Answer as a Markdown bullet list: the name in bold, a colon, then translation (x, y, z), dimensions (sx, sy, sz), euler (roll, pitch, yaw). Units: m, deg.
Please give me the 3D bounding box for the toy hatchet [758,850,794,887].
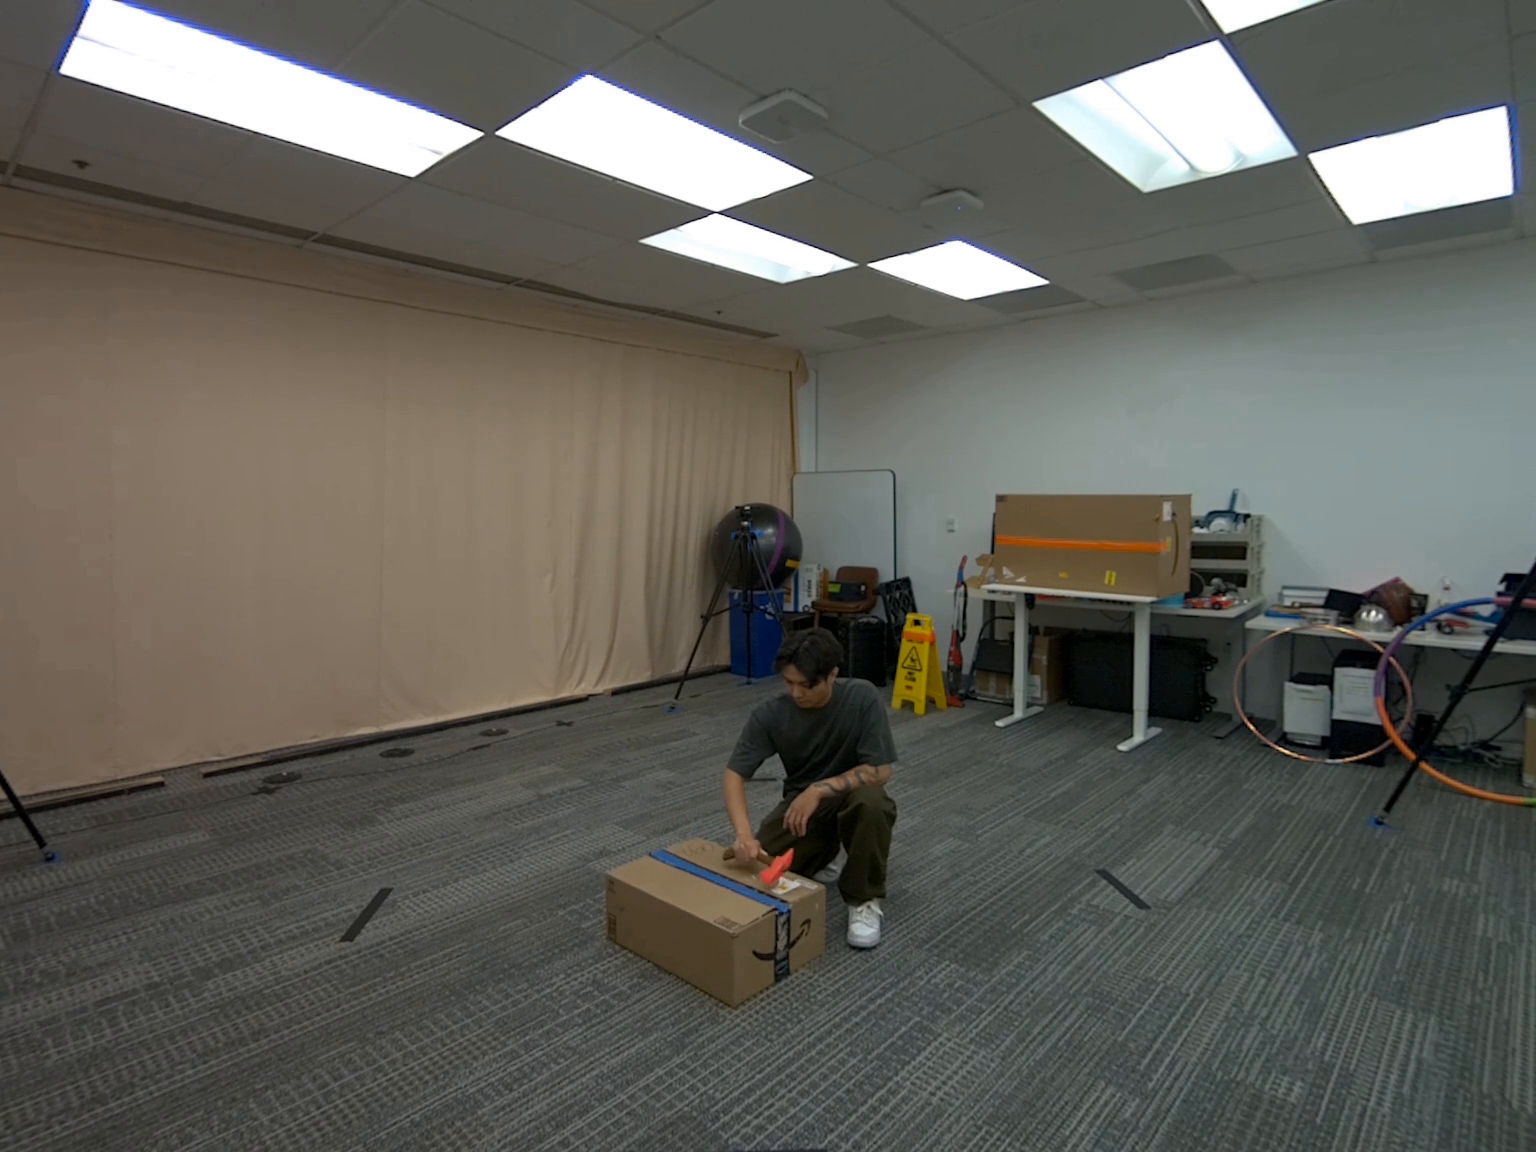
- **toy hatchet**: translation (-0.051, 0.919, 2.658), dimensions (0.277, 0.029, 0.131), euler (-16, 31, 36)
